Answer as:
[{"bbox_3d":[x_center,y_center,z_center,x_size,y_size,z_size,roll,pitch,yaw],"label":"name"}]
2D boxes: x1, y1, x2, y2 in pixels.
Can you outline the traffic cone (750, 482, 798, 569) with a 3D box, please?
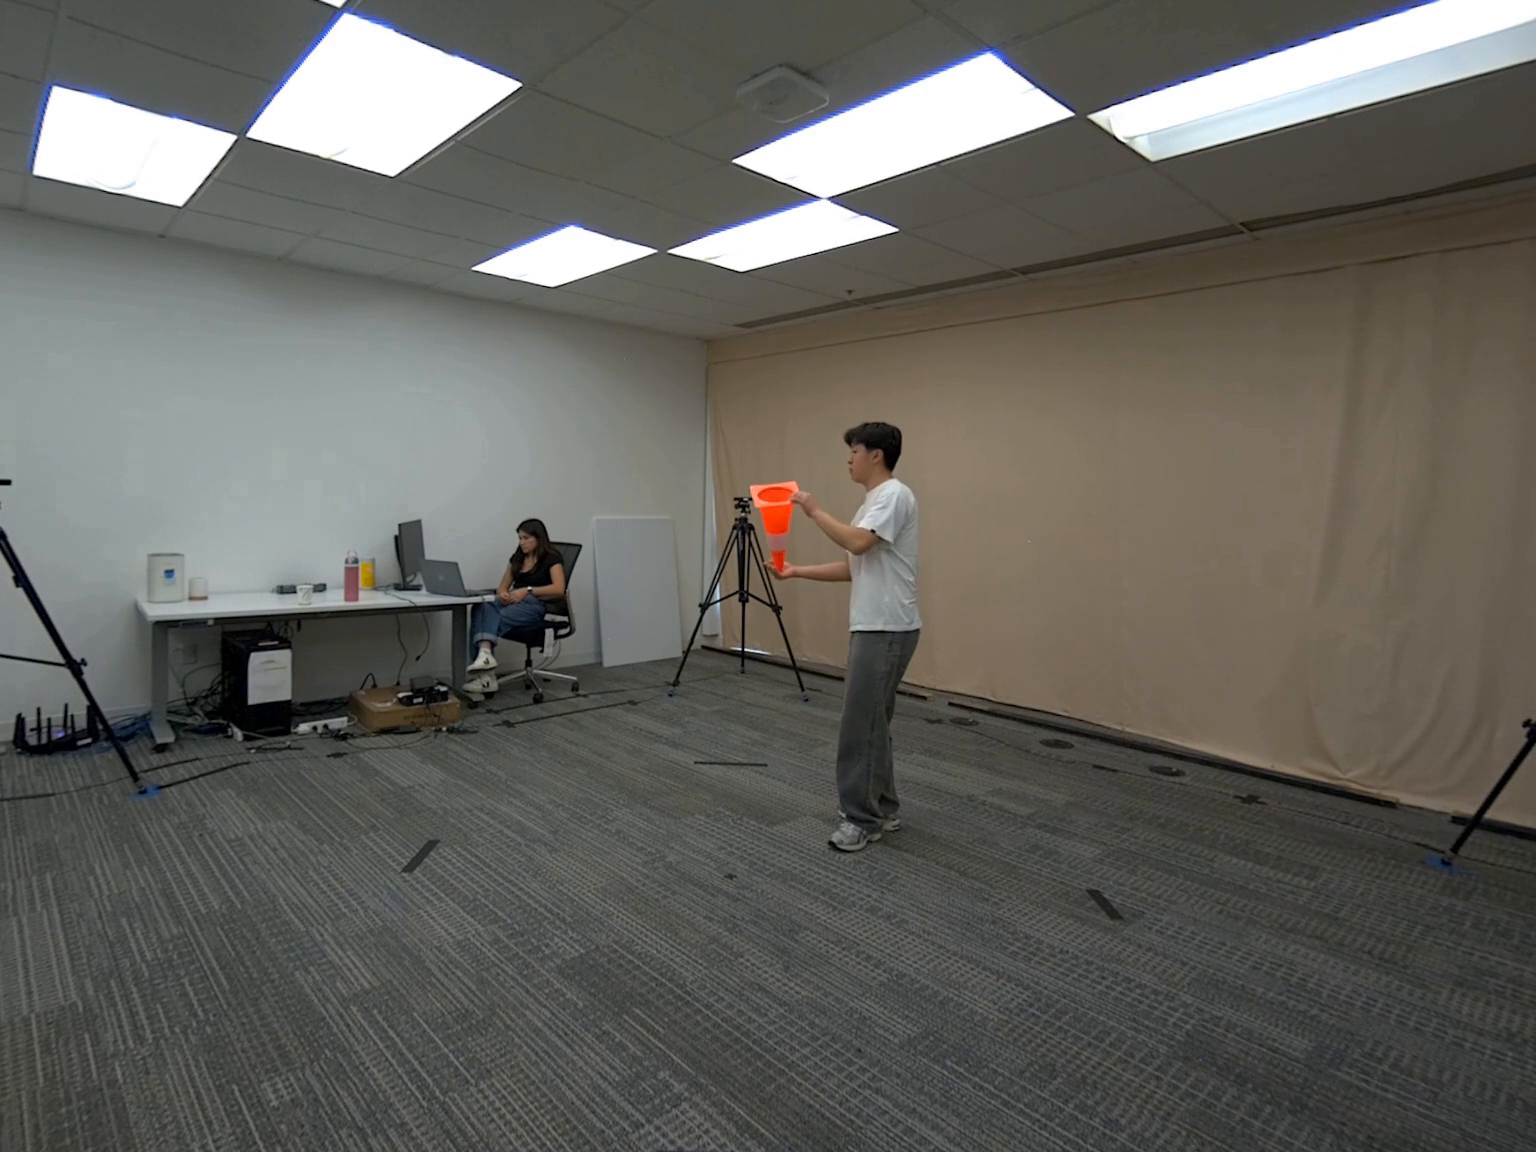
[{"bbox_3d":[0.035,-0.164,3.623,0.205,0.376,0.207,-3,29,-2],"label":"traffic cone"}]
